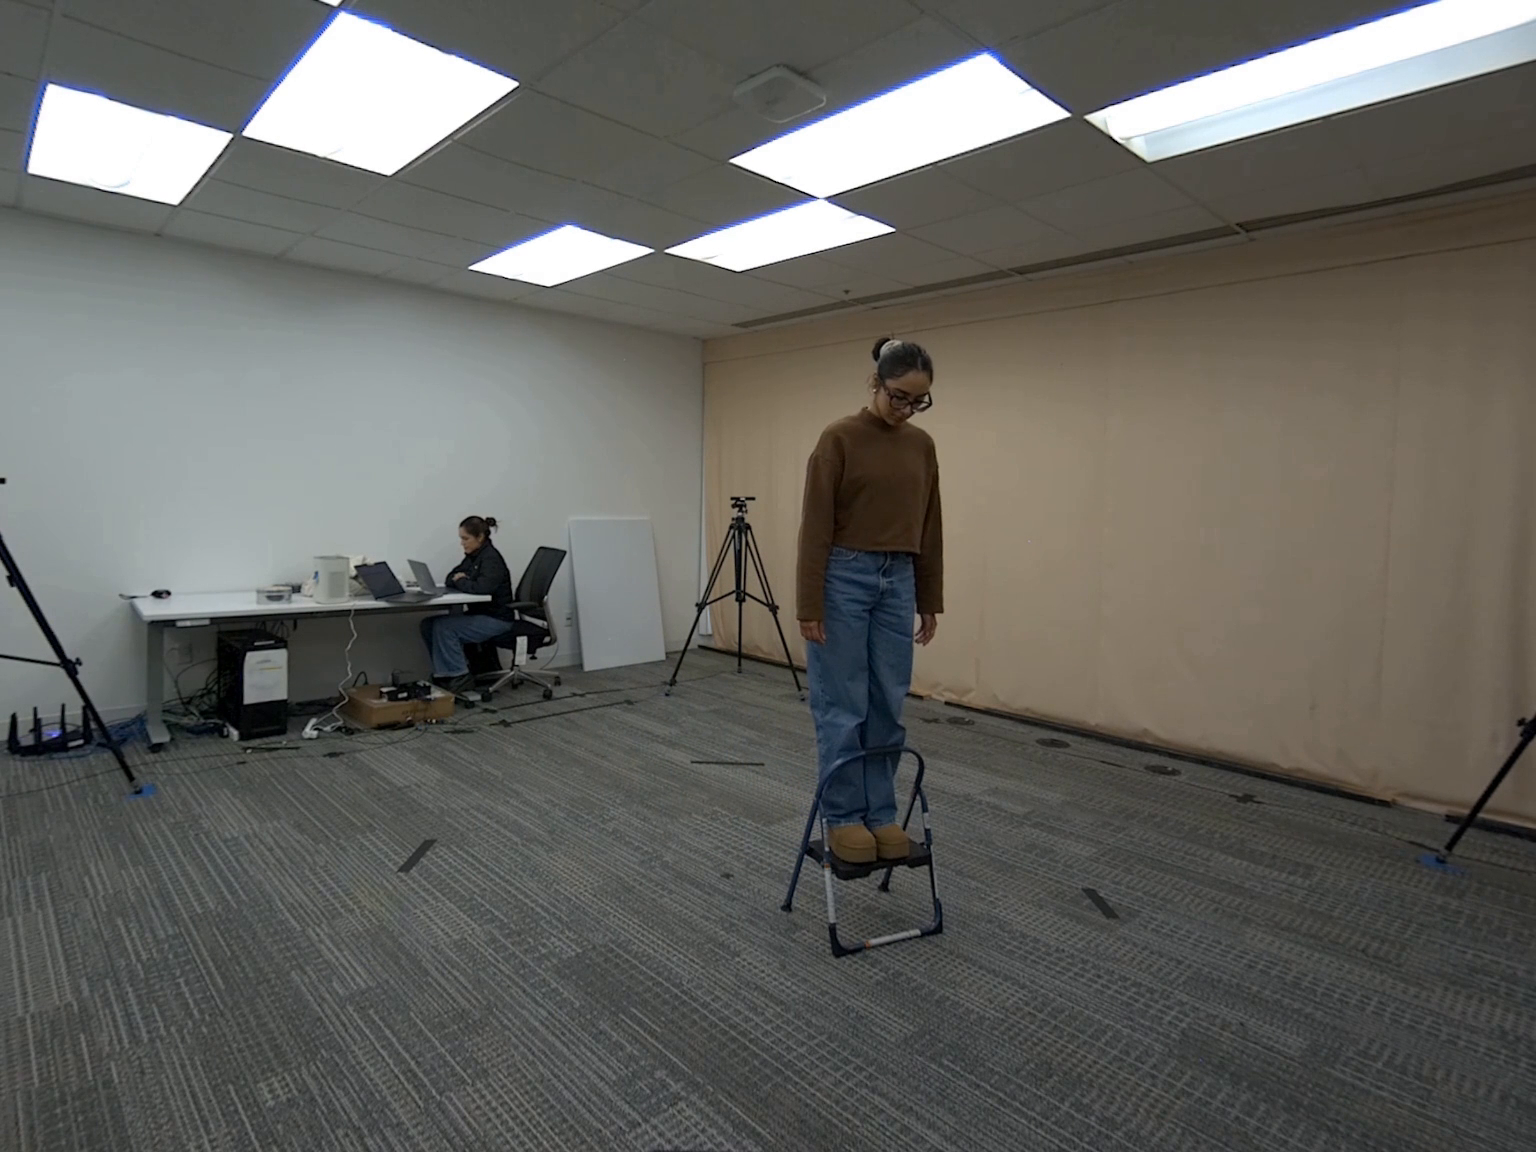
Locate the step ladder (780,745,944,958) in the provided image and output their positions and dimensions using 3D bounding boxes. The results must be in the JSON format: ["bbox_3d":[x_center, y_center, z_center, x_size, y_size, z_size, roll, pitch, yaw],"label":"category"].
[{"bbox_3d":[0.314,0.845,2.778,0.422,0.604,0.357,0,4,-27],"label":"step ladder"}]
